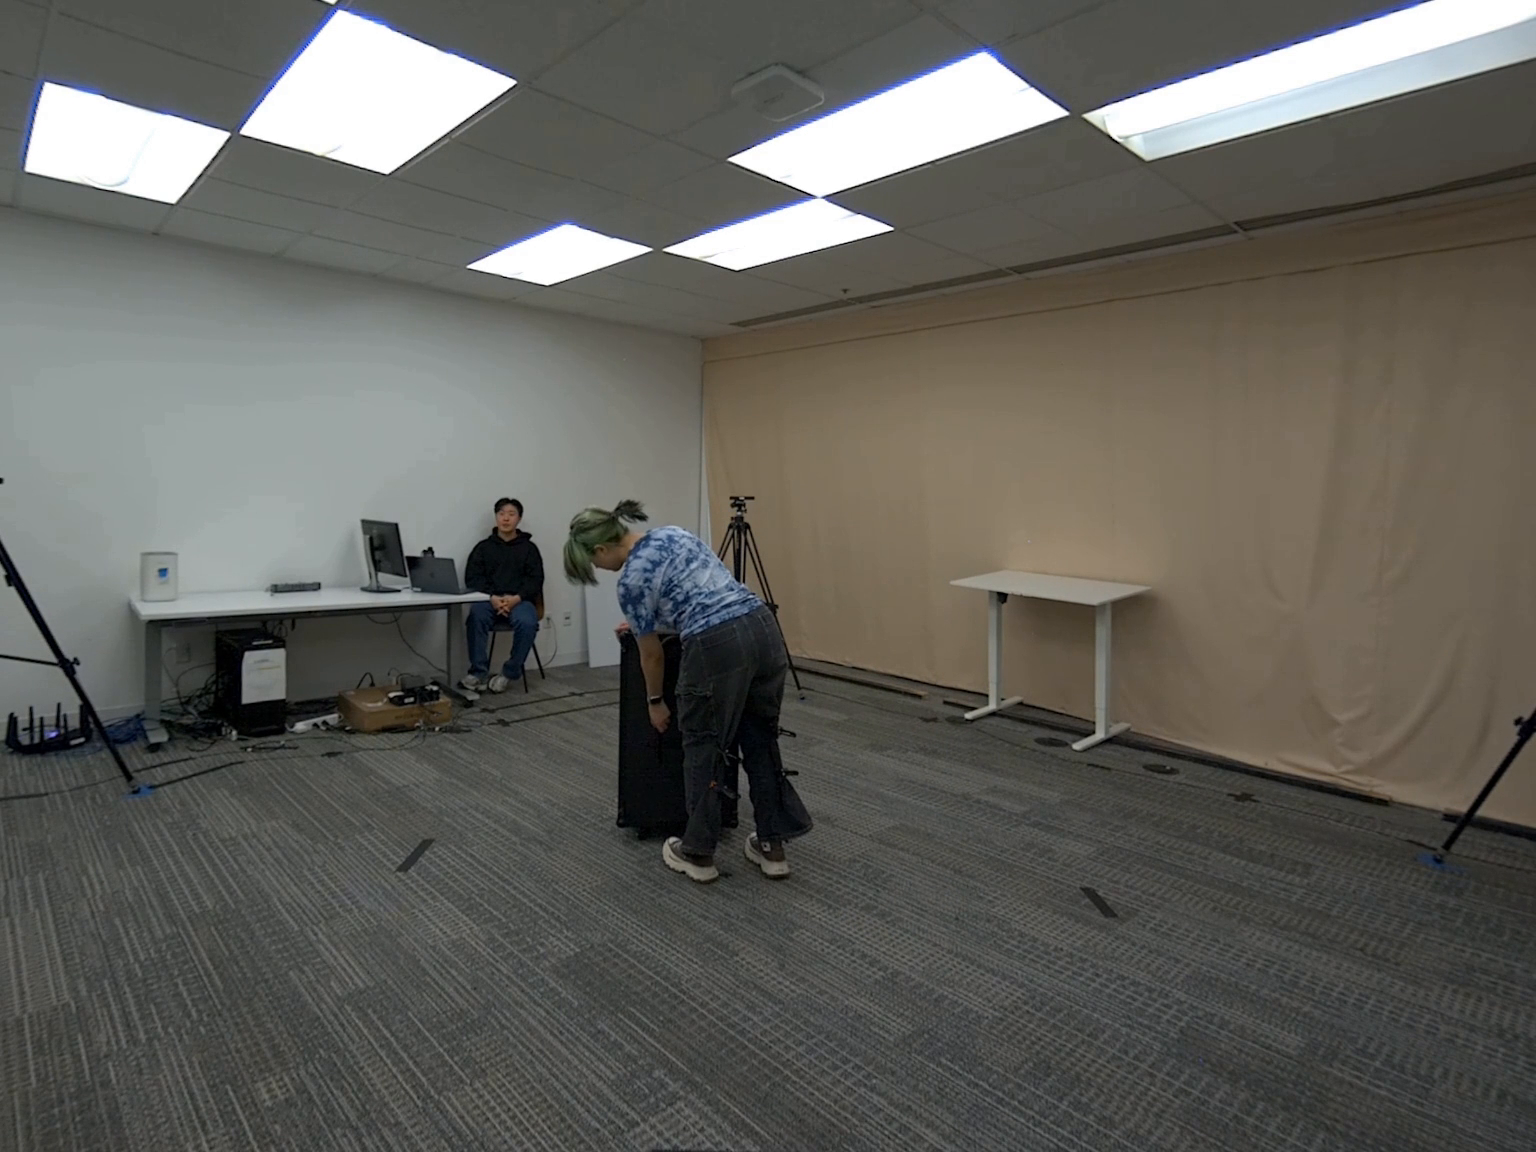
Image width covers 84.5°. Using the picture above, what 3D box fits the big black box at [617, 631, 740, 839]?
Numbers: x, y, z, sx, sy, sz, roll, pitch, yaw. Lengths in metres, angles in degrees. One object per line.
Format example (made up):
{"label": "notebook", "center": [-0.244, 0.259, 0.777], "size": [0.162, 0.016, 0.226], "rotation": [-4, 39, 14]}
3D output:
{"label": "big black box", "center": [-0.375, 0.644, 3.514], "size": [0.520, 0.859, 0.398], "rotation": [2, 4, -4]}
